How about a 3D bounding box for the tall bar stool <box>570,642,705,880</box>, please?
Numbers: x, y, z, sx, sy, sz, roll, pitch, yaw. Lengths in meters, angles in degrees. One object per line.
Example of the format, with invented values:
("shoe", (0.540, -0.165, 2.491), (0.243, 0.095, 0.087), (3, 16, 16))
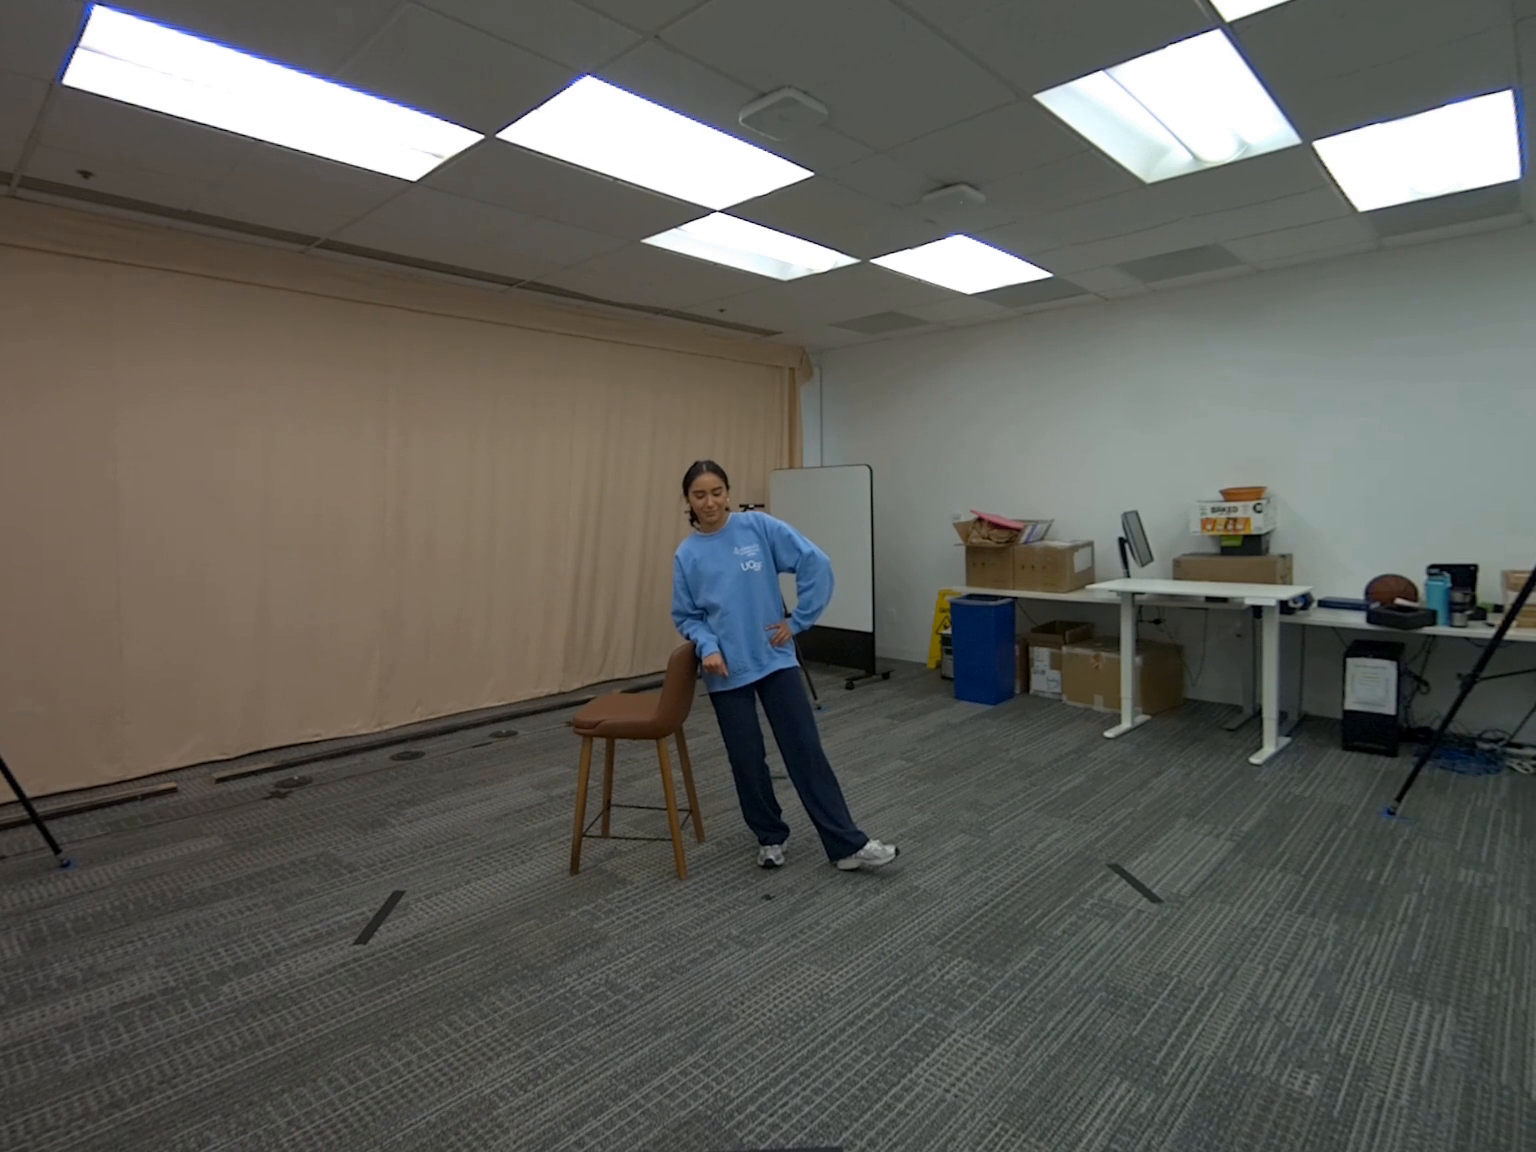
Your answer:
("tall bar stool", (-0.513, 0.687, 3.338), (0.473, 0.888, 0.452), (1, 4, 10))
